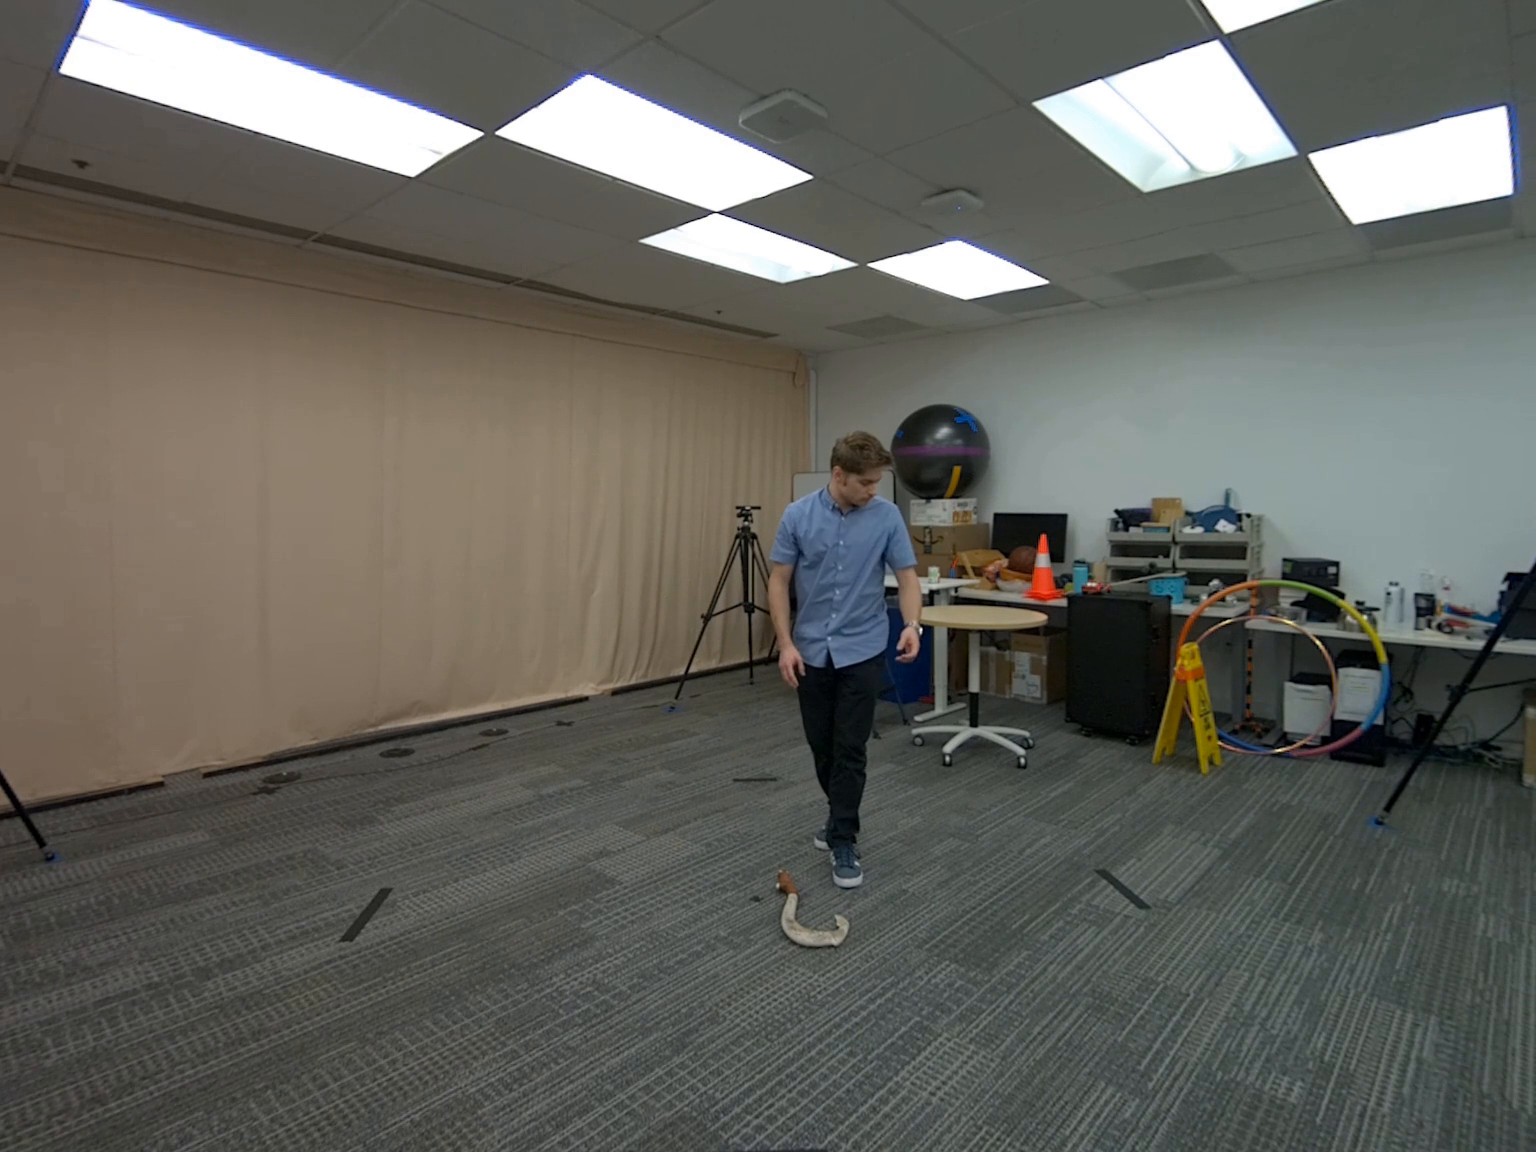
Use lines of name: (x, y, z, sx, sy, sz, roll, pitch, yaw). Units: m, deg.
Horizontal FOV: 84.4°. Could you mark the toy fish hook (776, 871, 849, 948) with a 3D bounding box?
toy fish hook: (0.142, 1.136, 2.891, 0.223, 0.048, 0.511, 8, 4, -7)
